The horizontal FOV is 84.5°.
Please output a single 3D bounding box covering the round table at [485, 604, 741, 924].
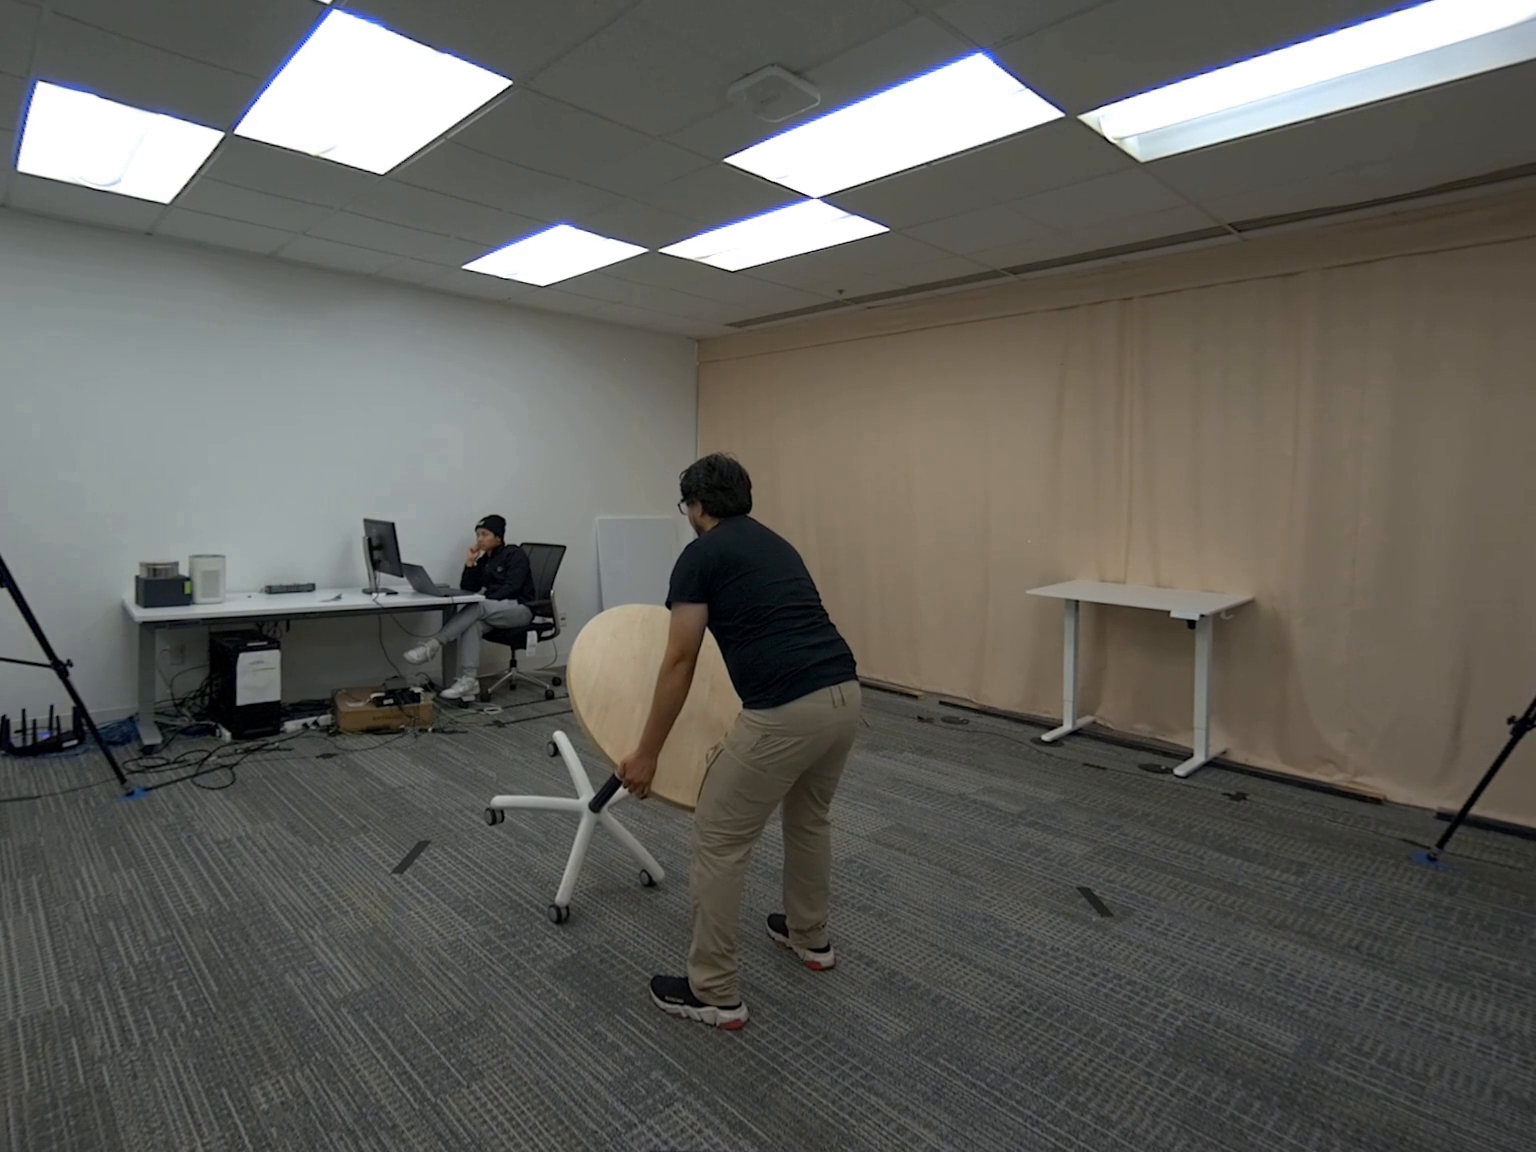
[{"bbox_3d":[-0.471,0.653,2.832,0.770,0.784,0.802,25,33,-20],"label":"round table"}]
